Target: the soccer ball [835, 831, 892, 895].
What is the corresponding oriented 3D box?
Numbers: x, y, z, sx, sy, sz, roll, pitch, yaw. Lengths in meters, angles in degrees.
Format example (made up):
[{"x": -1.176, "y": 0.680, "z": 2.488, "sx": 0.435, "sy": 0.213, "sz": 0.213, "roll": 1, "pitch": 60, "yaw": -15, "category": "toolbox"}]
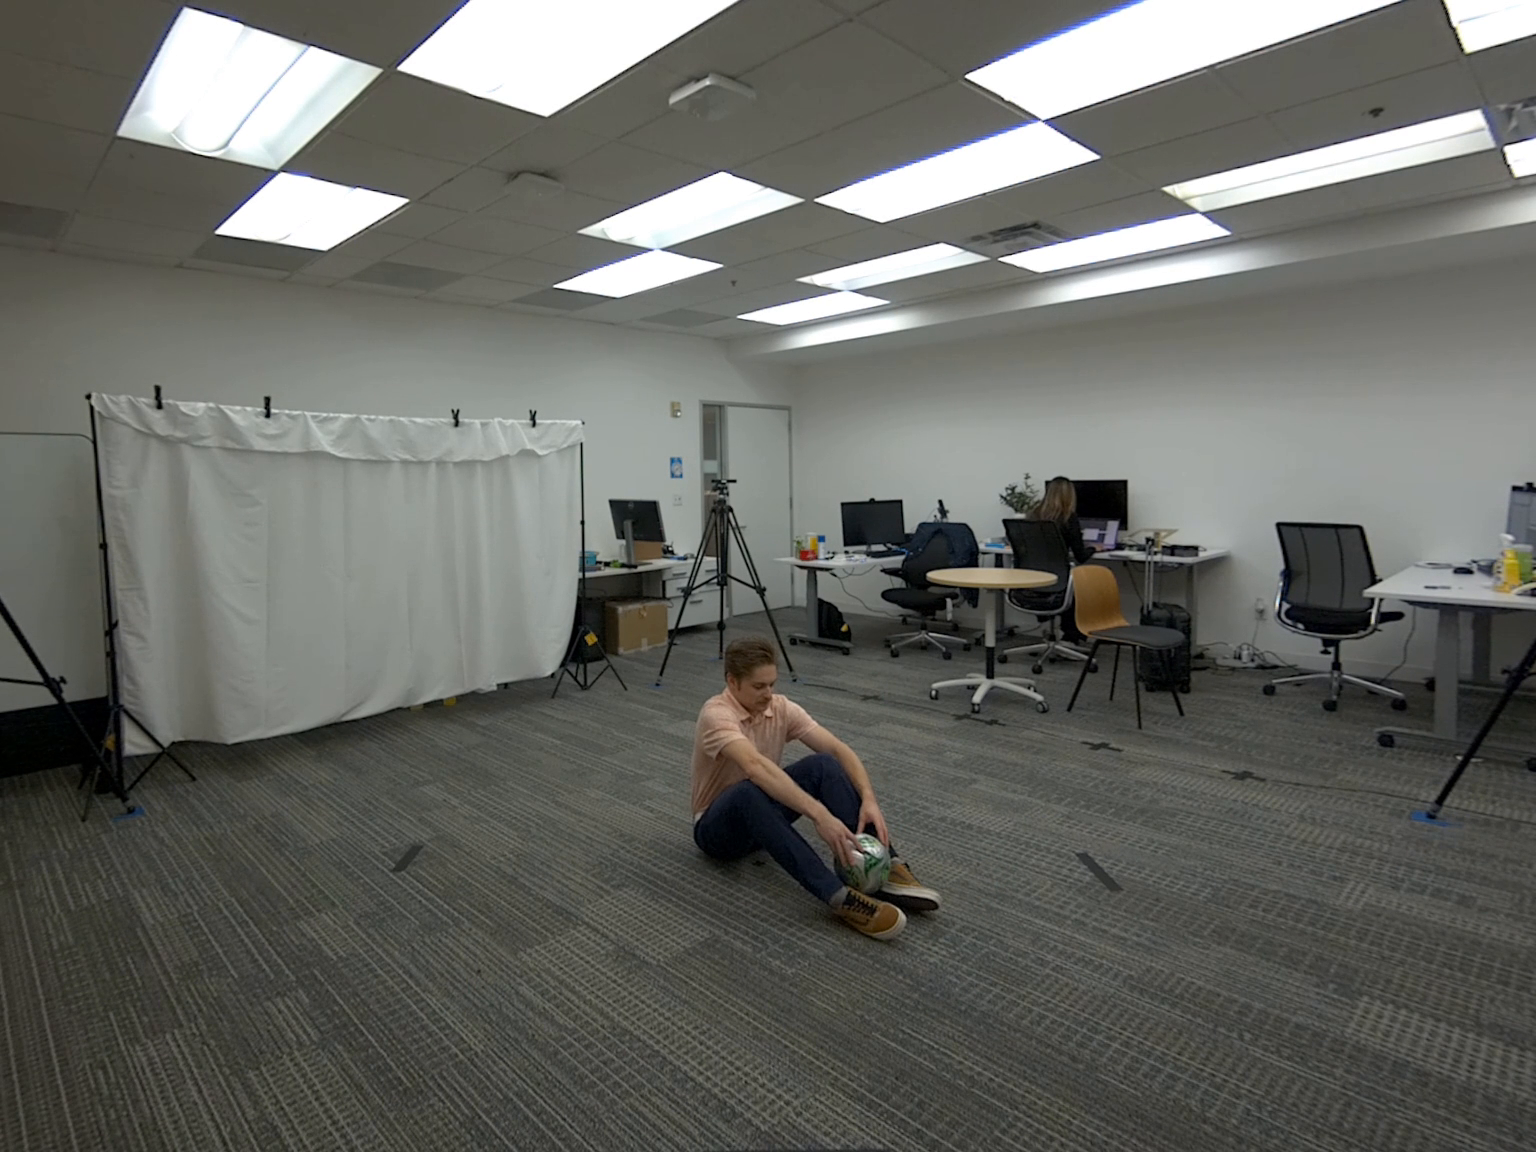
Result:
[{"x": 0.295, "y": 0.936, "z": 2.782, "sx": 0.187, "sy": 0.187, "sz": 0.188, "roll": -1, "pitch": 5, "yaw": -2, "category": "soccer ball"}]
